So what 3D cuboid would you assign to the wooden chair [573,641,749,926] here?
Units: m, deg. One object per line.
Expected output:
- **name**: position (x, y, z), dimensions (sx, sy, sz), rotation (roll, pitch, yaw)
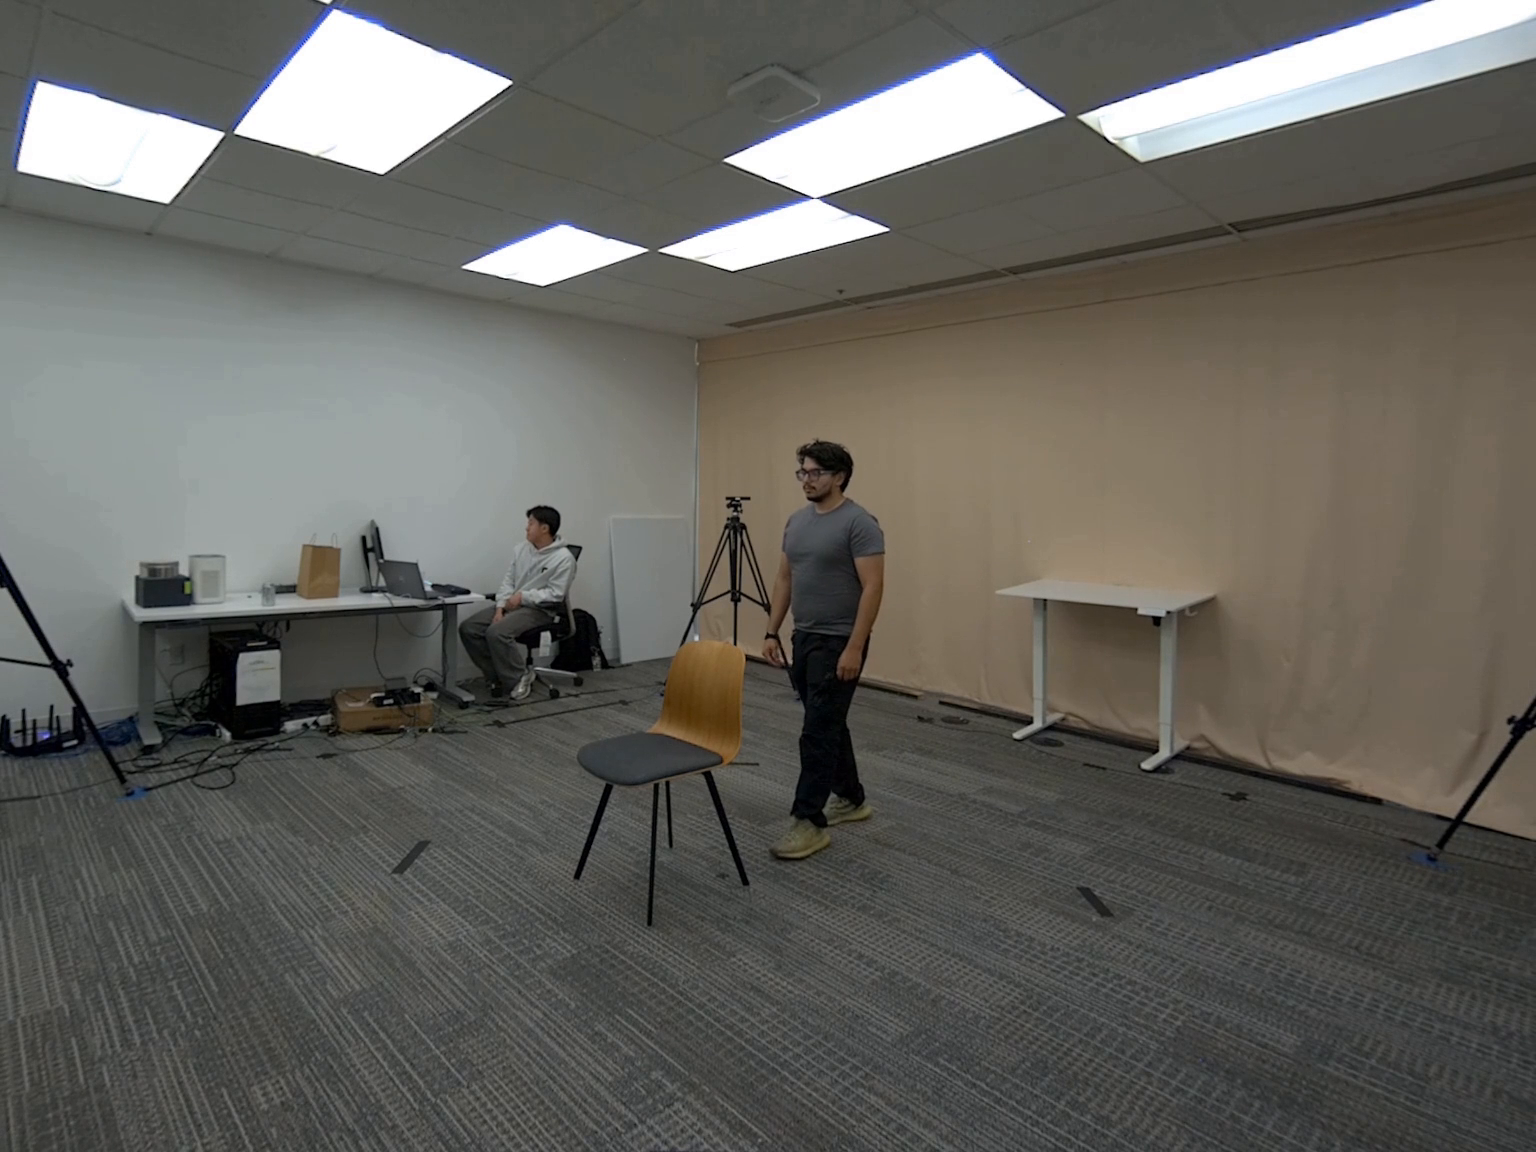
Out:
- **wooden chair**: position (-0.385, 0.683, 3.000), dimensions (0.510, 0.877, 0.490), rotation (4, 1, -44)
